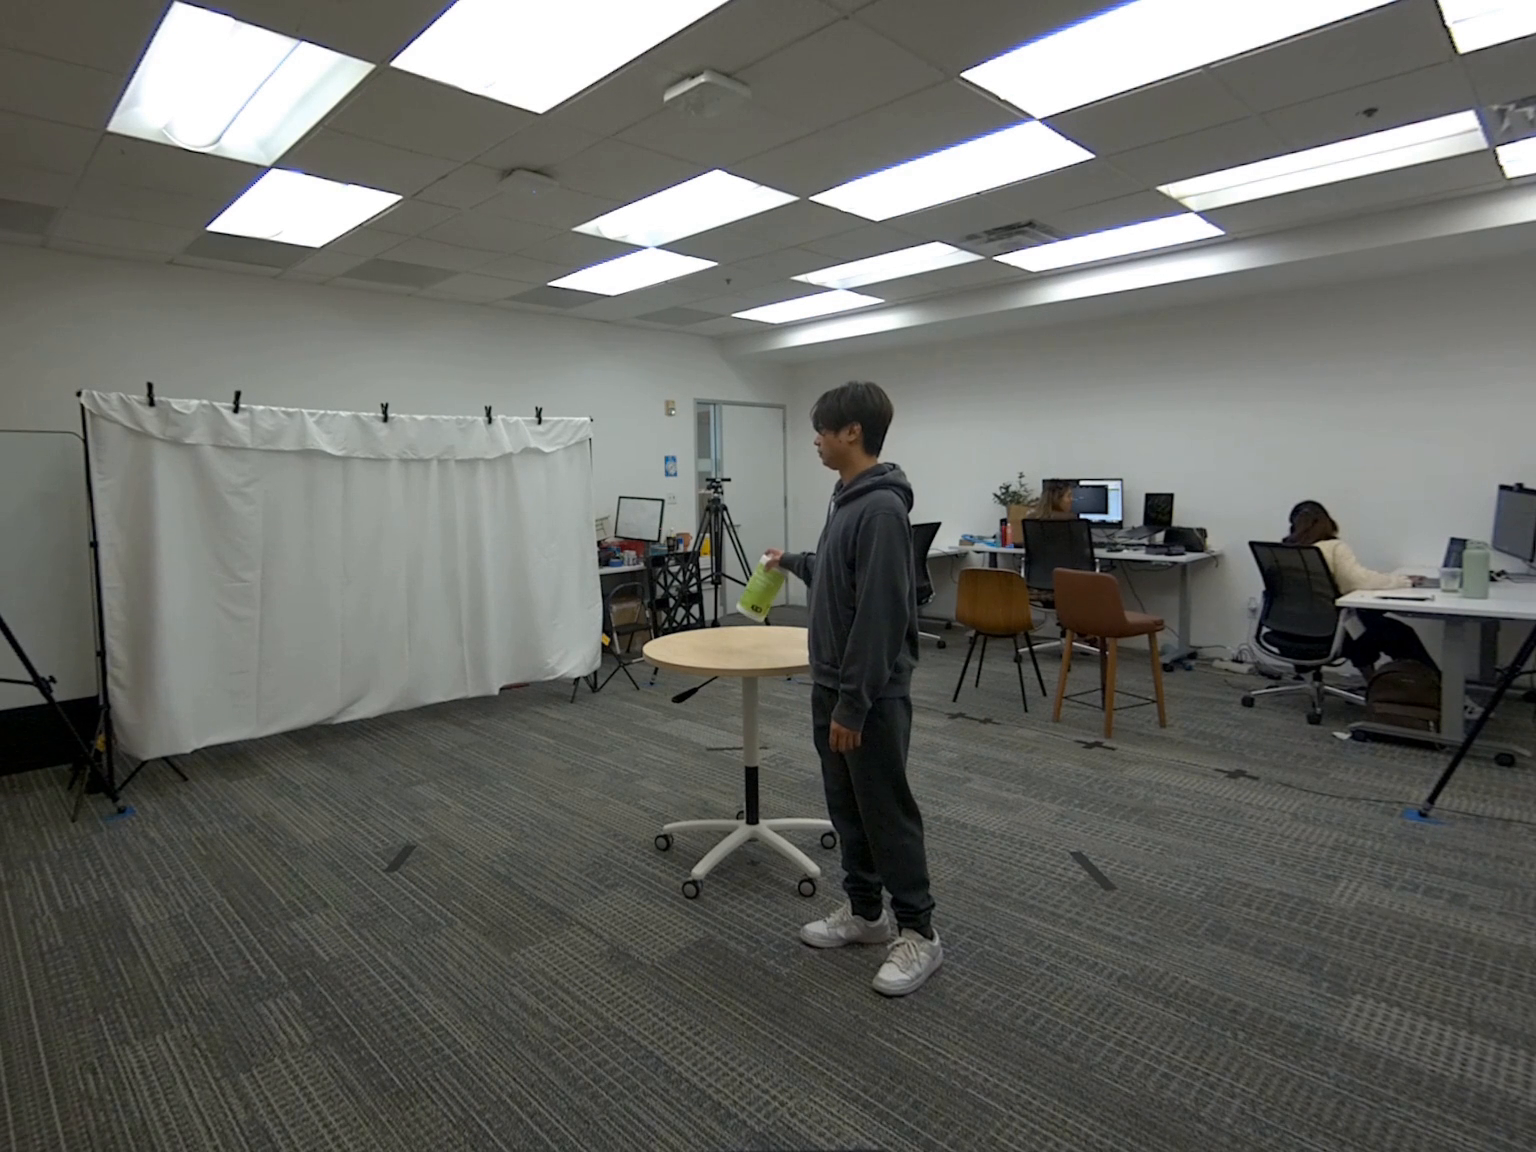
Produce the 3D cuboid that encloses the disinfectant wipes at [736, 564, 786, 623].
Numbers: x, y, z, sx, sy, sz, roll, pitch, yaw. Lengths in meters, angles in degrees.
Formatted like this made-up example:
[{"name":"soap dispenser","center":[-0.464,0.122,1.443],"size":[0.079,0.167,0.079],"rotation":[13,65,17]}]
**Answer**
[{"name":"disinfectant wipes","center":[-0.019,0.044,3.003],"size":[0.117,0.217,0.119],"rotation":[25,7,-5]}]
